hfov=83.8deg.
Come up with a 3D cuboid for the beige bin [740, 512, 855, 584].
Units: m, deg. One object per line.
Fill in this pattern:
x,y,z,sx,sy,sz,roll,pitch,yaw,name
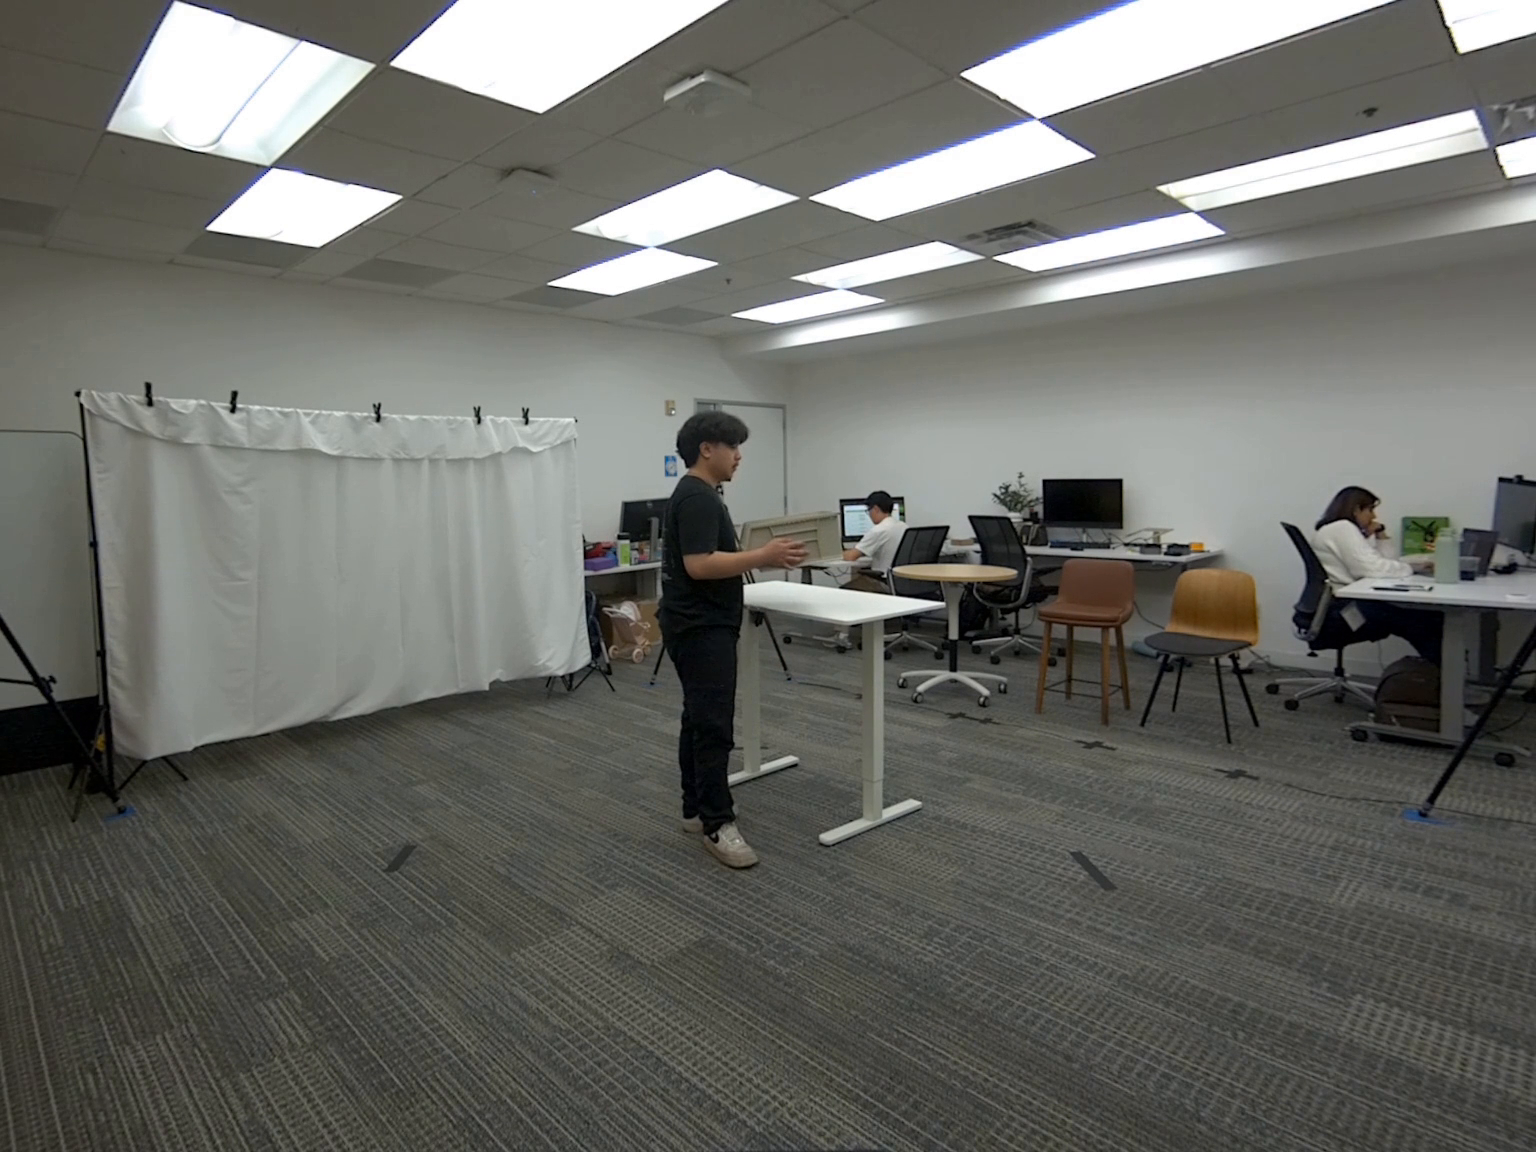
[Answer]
0.084,-0.137,3.369,0.378,0.188,0.423,-8,4,1,beige bin
